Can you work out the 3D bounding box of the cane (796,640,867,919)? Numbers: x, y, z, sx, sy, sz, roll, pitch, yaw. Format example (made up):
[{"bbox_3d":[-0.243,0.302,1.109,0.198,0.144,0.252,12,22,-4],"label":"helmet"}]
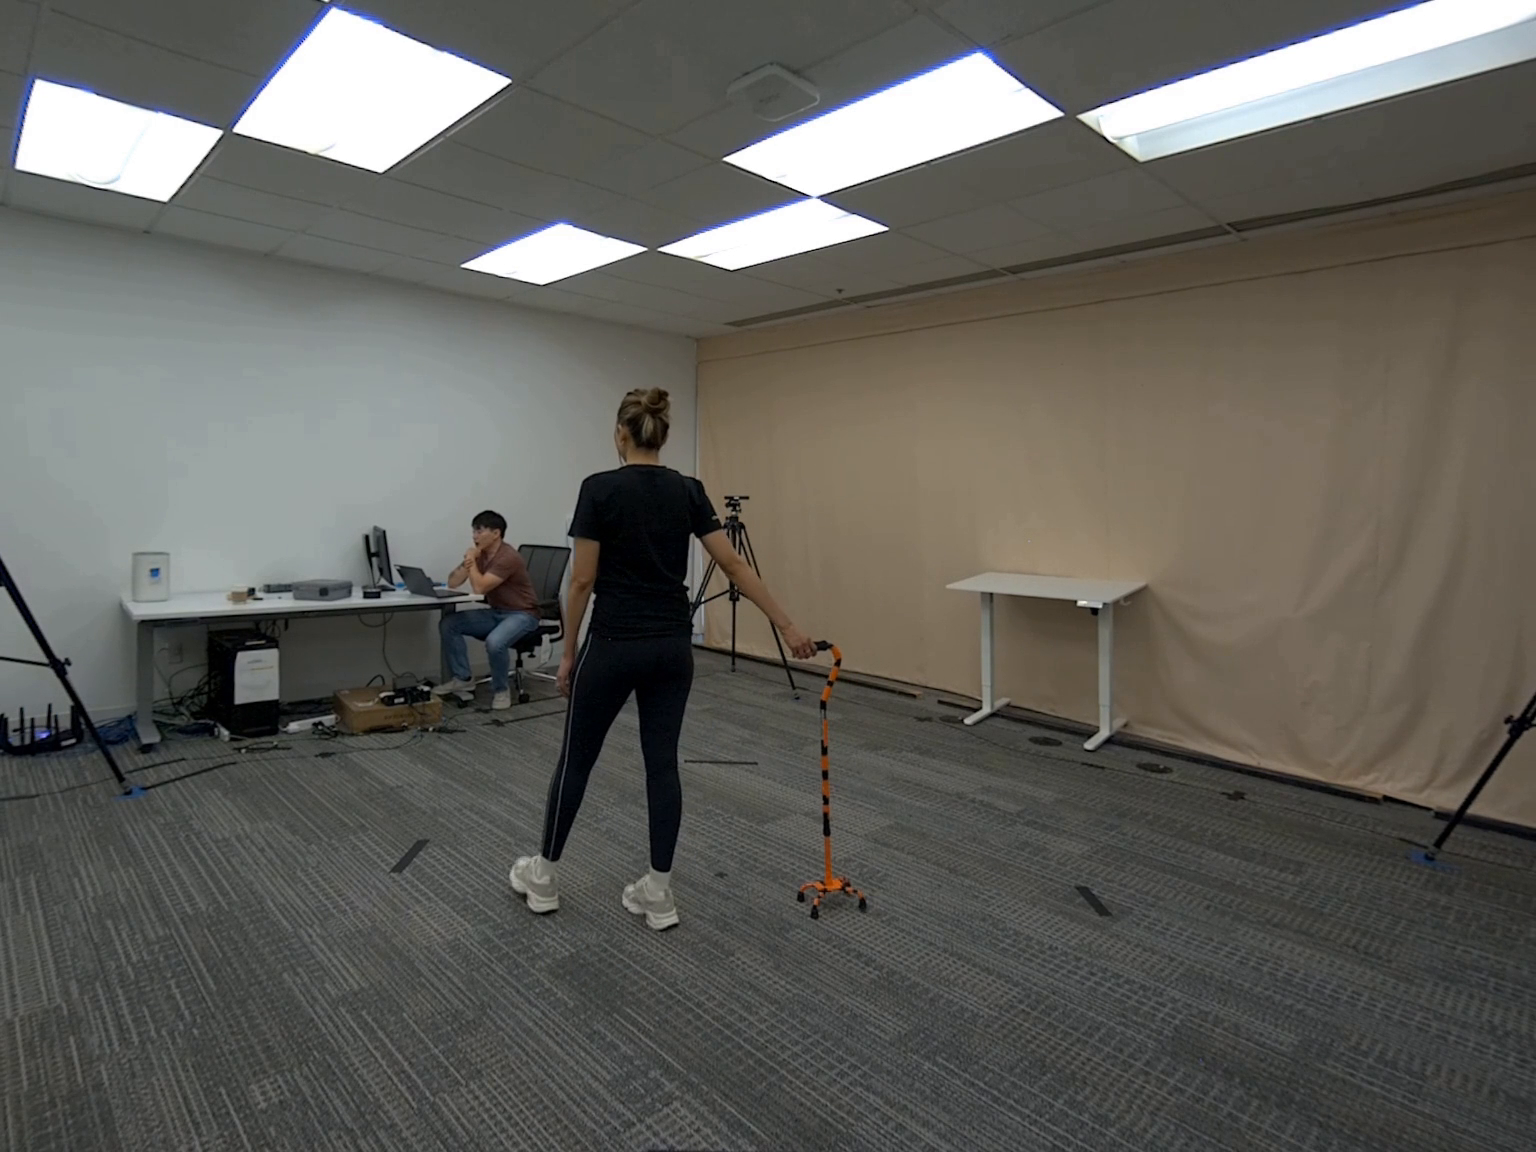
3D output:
[{"bbox_3d":[0.193,0.680,2.848,0.204,0.905,0.154,-3,5,-19],"label":"cane"}]
